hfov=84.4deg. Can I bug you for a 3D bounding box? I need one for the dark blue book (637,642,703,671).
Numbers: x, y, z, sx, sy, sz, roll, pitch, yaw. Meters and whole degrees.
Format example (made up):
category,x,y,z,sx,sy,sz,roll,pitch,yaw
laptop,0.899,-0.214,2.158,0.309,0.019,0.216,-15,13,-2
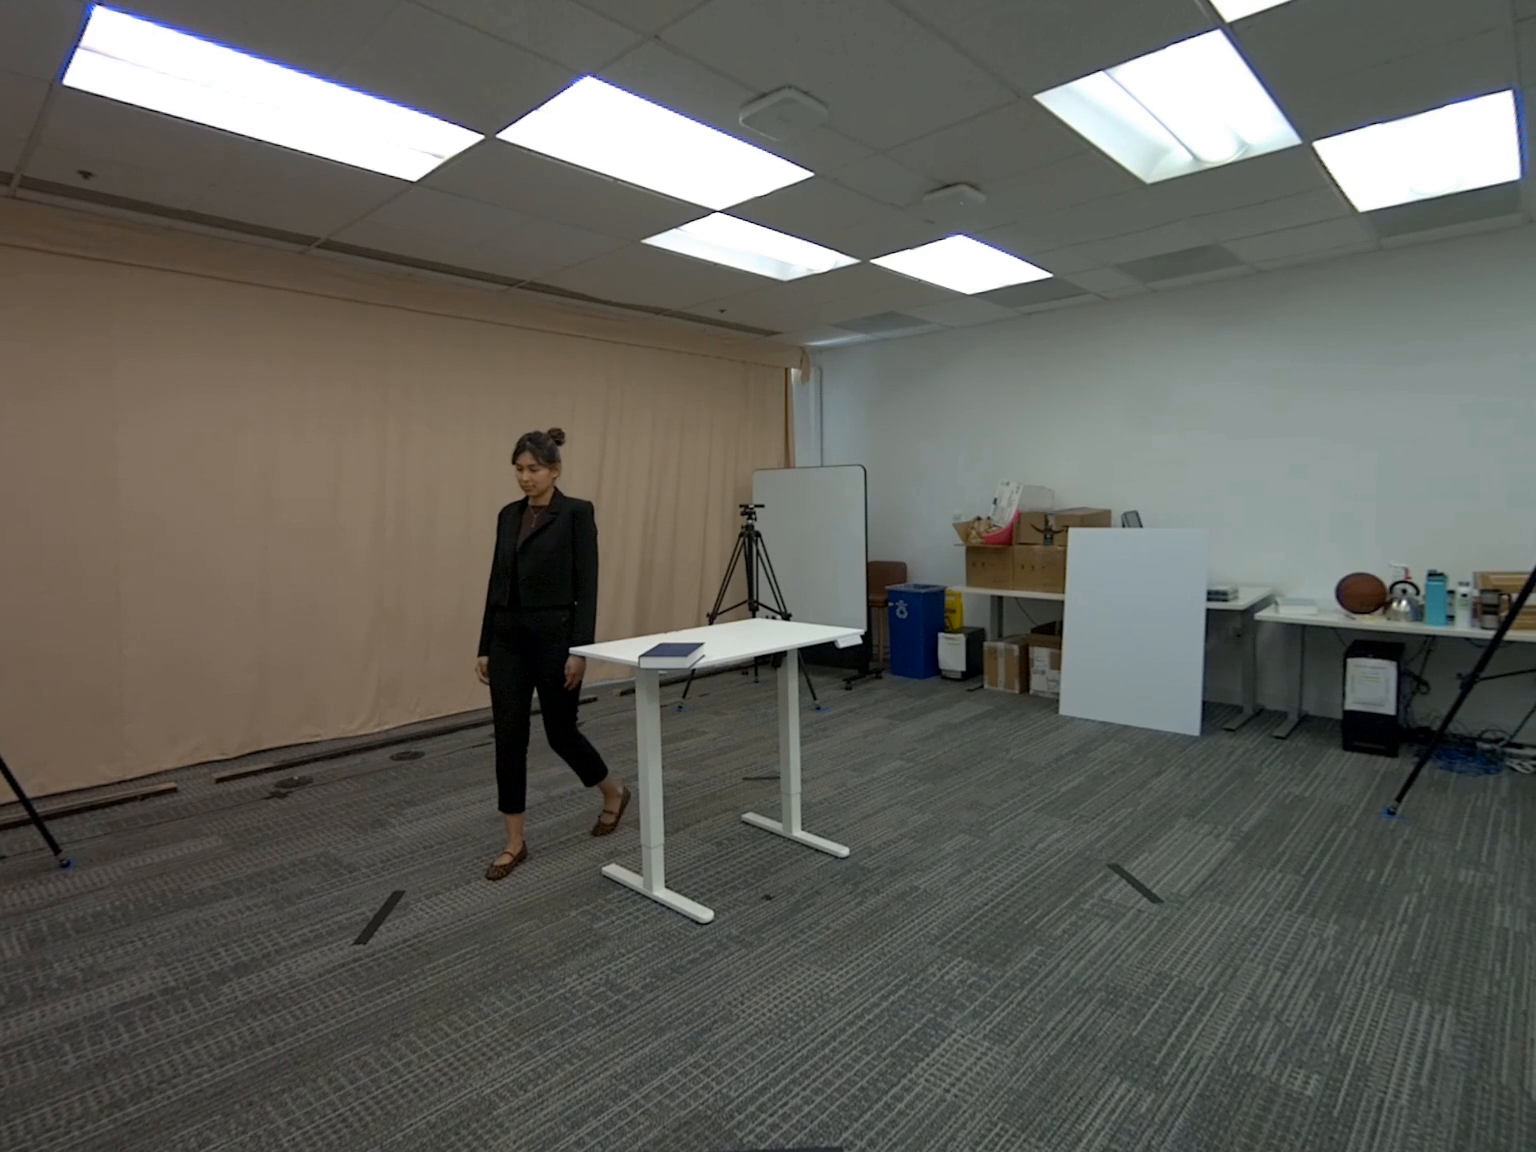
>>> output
category,x,y,z,sx,sy,sz,roll,pitch,yaw
dark blue book,-0.309,0.258,2.765,0.165,0.045,0.243,-1,5,10
